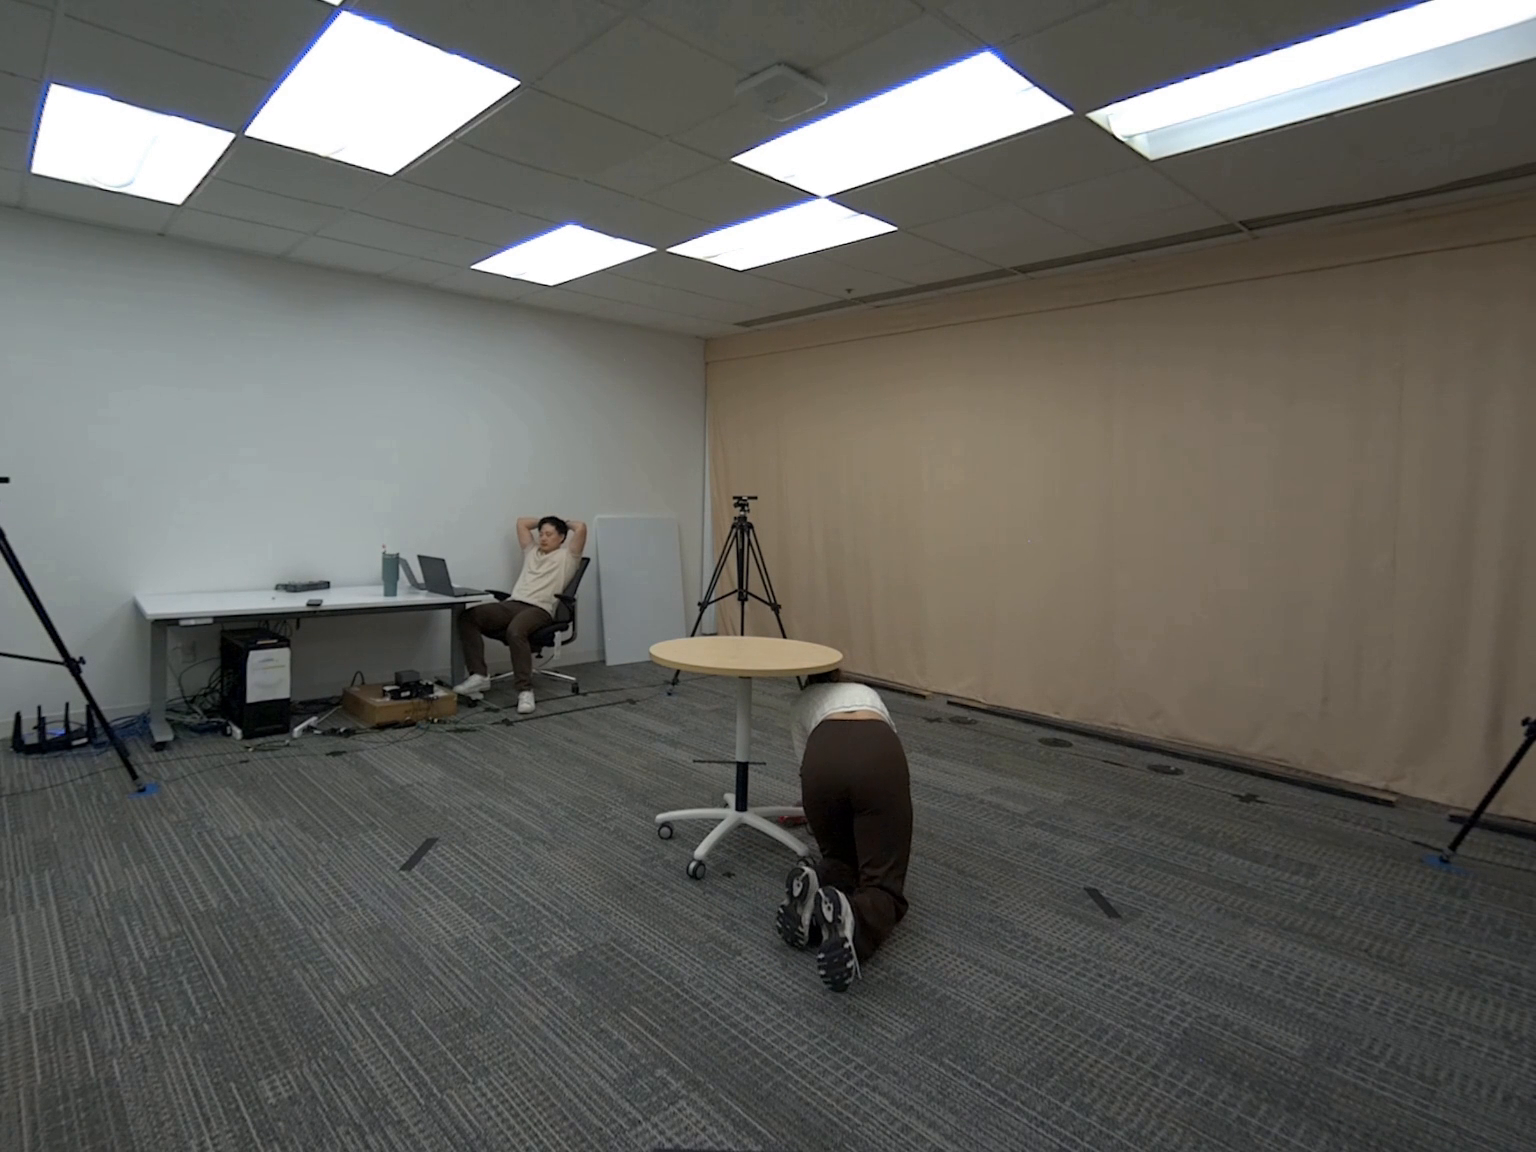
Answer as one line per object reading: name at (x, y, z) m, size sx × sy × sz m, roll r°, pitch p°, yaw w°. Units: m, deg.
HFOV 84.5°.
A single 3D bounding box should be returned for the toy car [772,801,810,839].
toy car at (0.162, 1.034, 3.642) m, size 0.252 × 0.083 × 0.132 m, roll -9°, pitch 7°, yaw -15°
